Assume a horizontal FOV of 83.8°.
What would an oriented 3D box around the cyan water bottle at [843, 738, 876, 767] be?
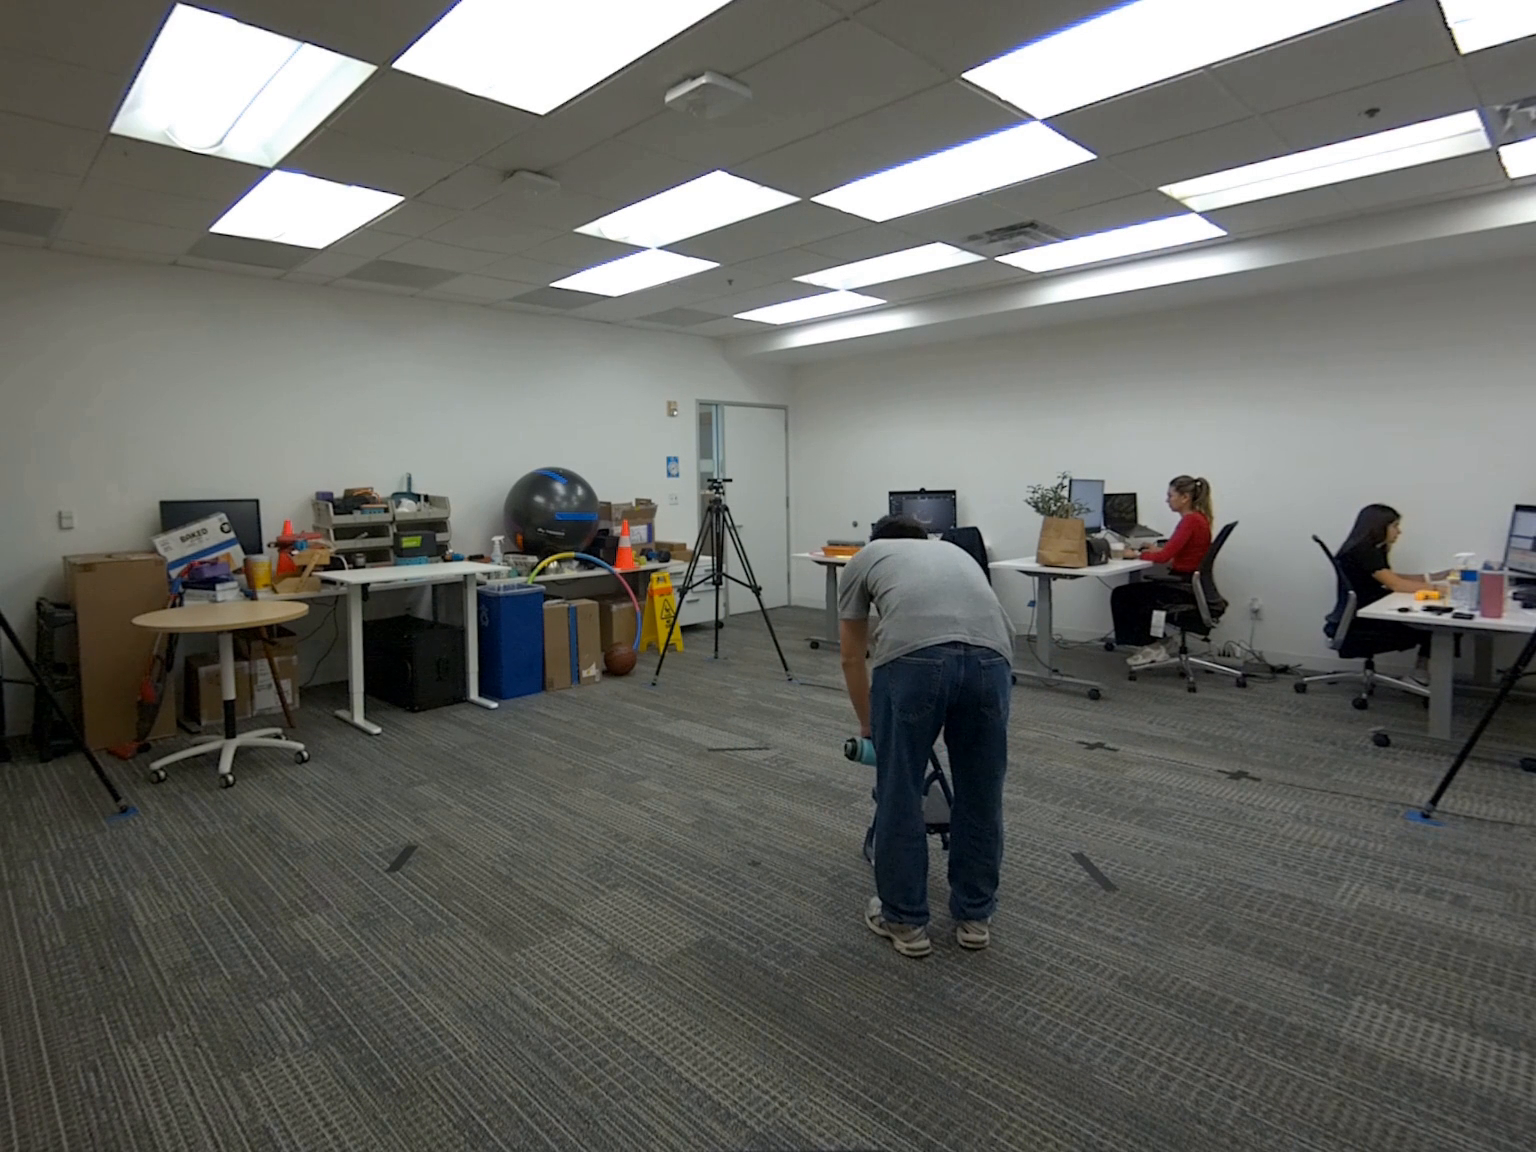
[{"bbox_3d":[0.426,0.609,2.896,0.284,0.092,0.092,7,5,1],"label":"cyan water bottle"}]
